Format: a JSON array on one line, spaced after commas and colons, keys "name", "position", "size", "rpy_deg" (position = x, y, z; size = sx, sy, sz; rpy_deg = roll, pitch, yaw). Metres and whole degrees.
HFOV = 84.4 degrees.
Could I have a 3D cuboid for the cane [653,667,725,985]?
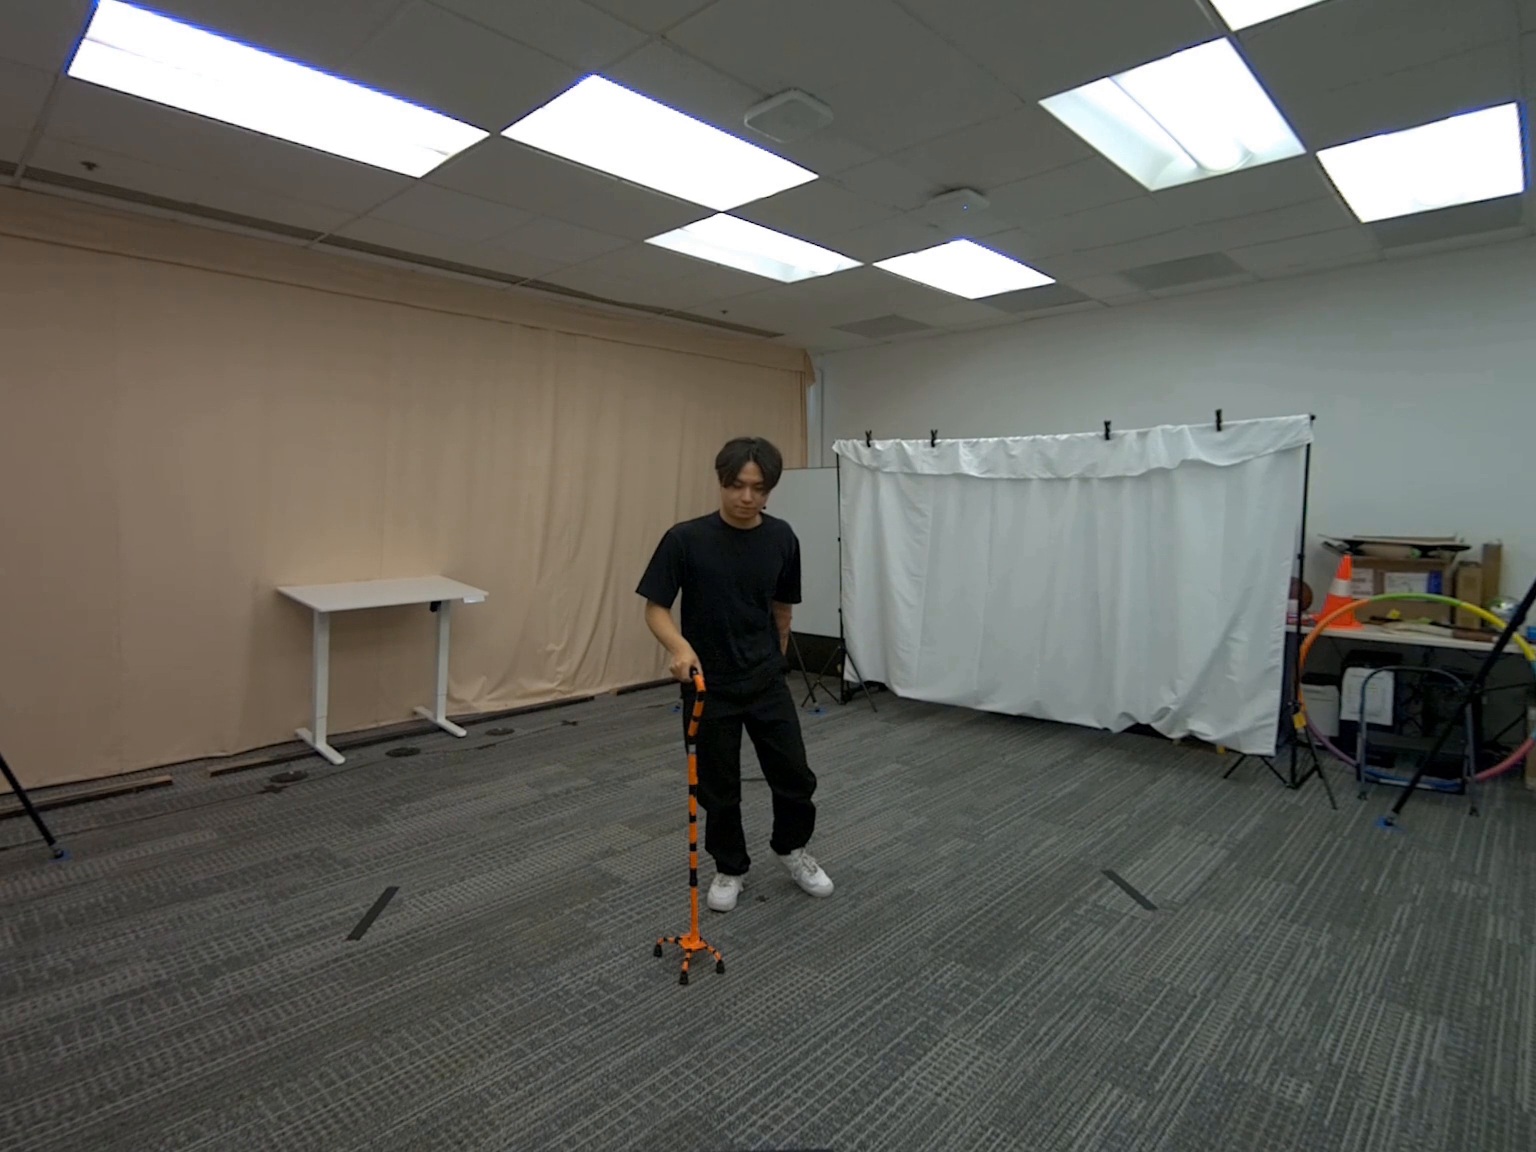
[{"name": "cane", "position": [-0.241, 0.731, 2.532], "size": [0.147, 0.905, 0.213], "rpy_deg": [-3, 6, -32]}]
